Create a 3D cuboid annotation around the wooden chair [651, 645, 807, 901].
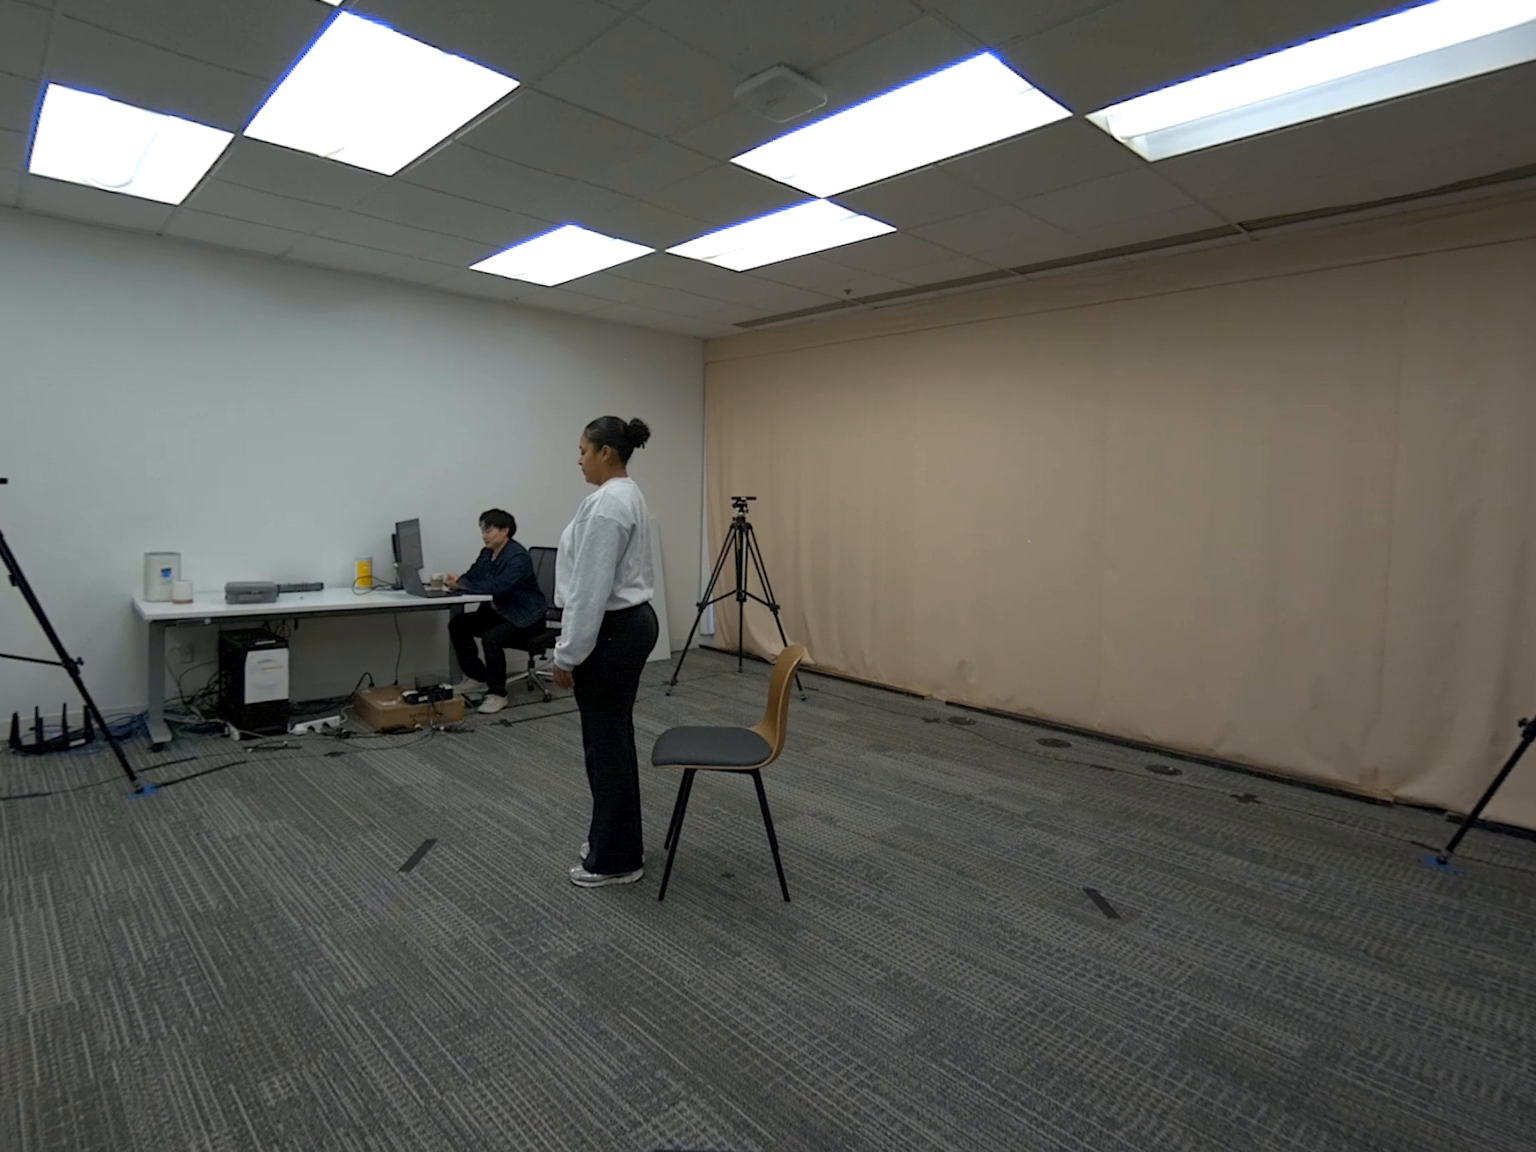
[{"bbox_3d":[-0.167,0.675,3.089,0.521,0.875,0.481,5,4,-4],"label":"wooden chair"}]
